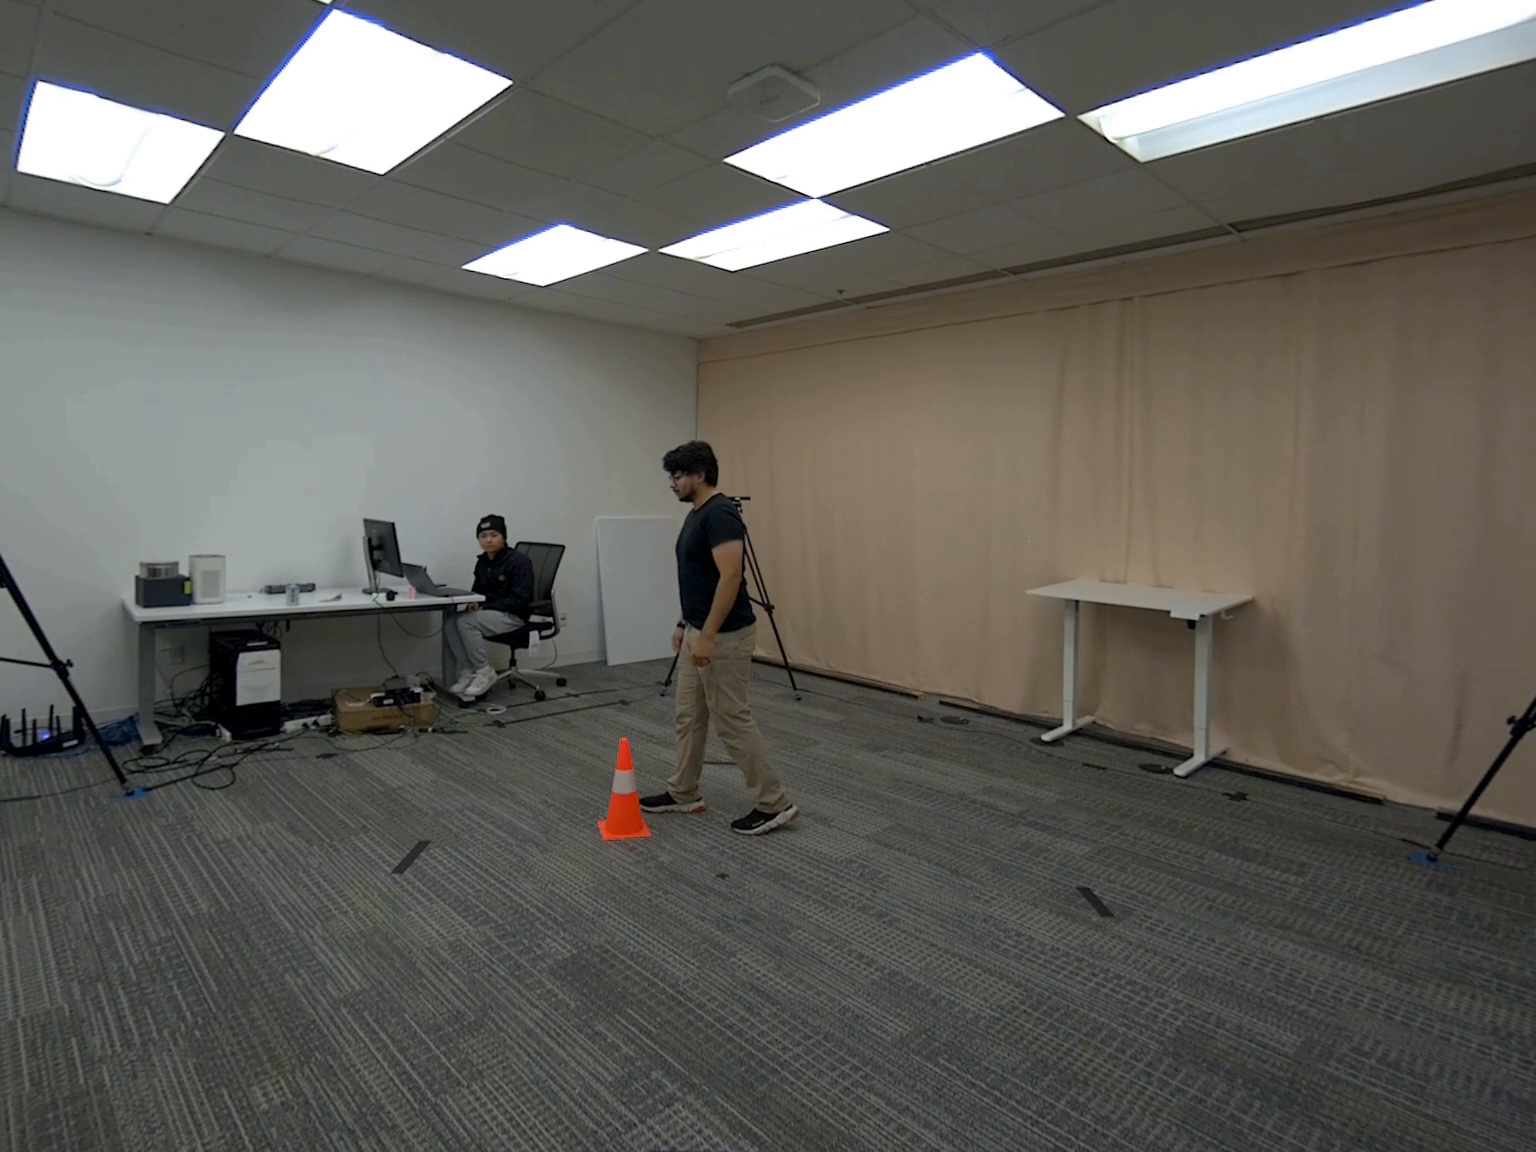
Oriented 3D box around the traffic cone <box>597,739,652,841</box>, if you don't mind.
[{"bbox_3d":[-0.611,0.873,3.508,0.201,0.382,0.208,-1,5,-15],"label":"traffic cone"}]
